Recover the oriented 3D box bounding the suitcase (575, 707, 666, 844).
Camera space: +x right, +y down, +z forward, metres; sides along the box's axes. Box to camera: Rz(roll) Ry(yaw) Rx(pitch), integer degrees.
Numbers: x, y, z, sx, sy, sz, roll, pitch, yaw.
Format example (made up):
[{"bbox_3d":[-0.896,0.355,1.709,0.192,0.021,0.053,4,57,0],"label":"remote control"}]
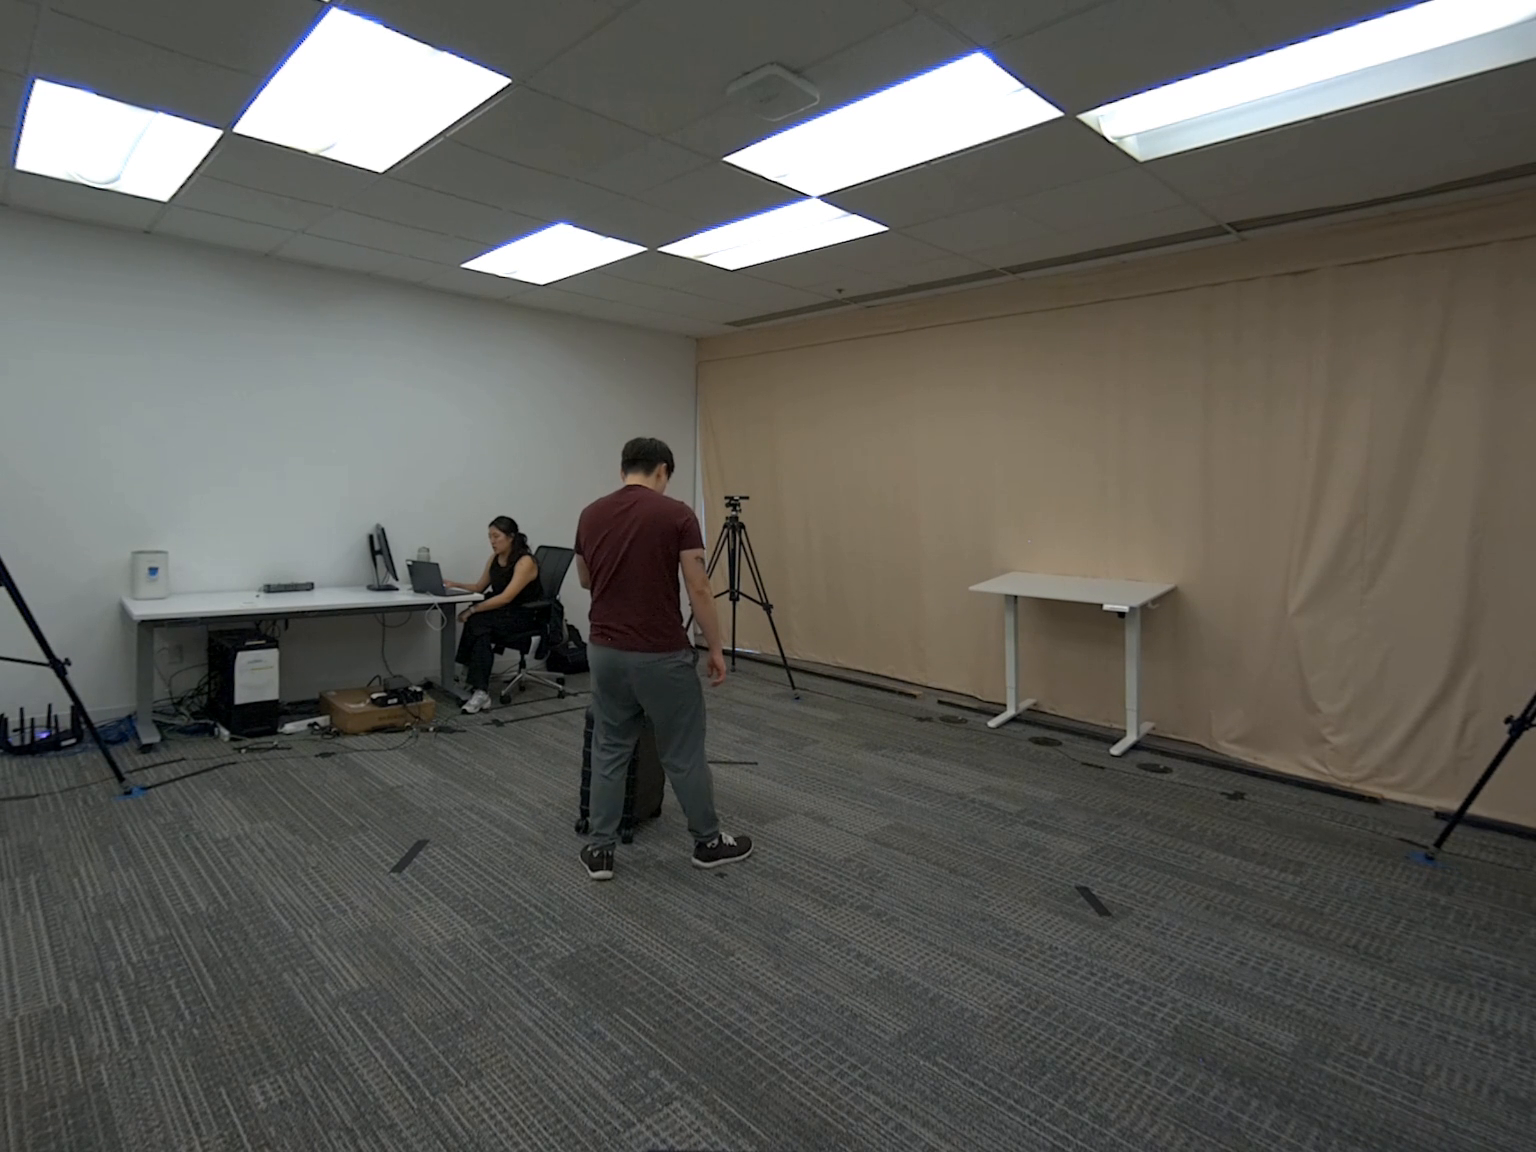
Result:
[{"bbox_3d":[-0.612,0.579,3.554,0.261,0.977,0.379,2,2,16],"label":"suitcase"}]
